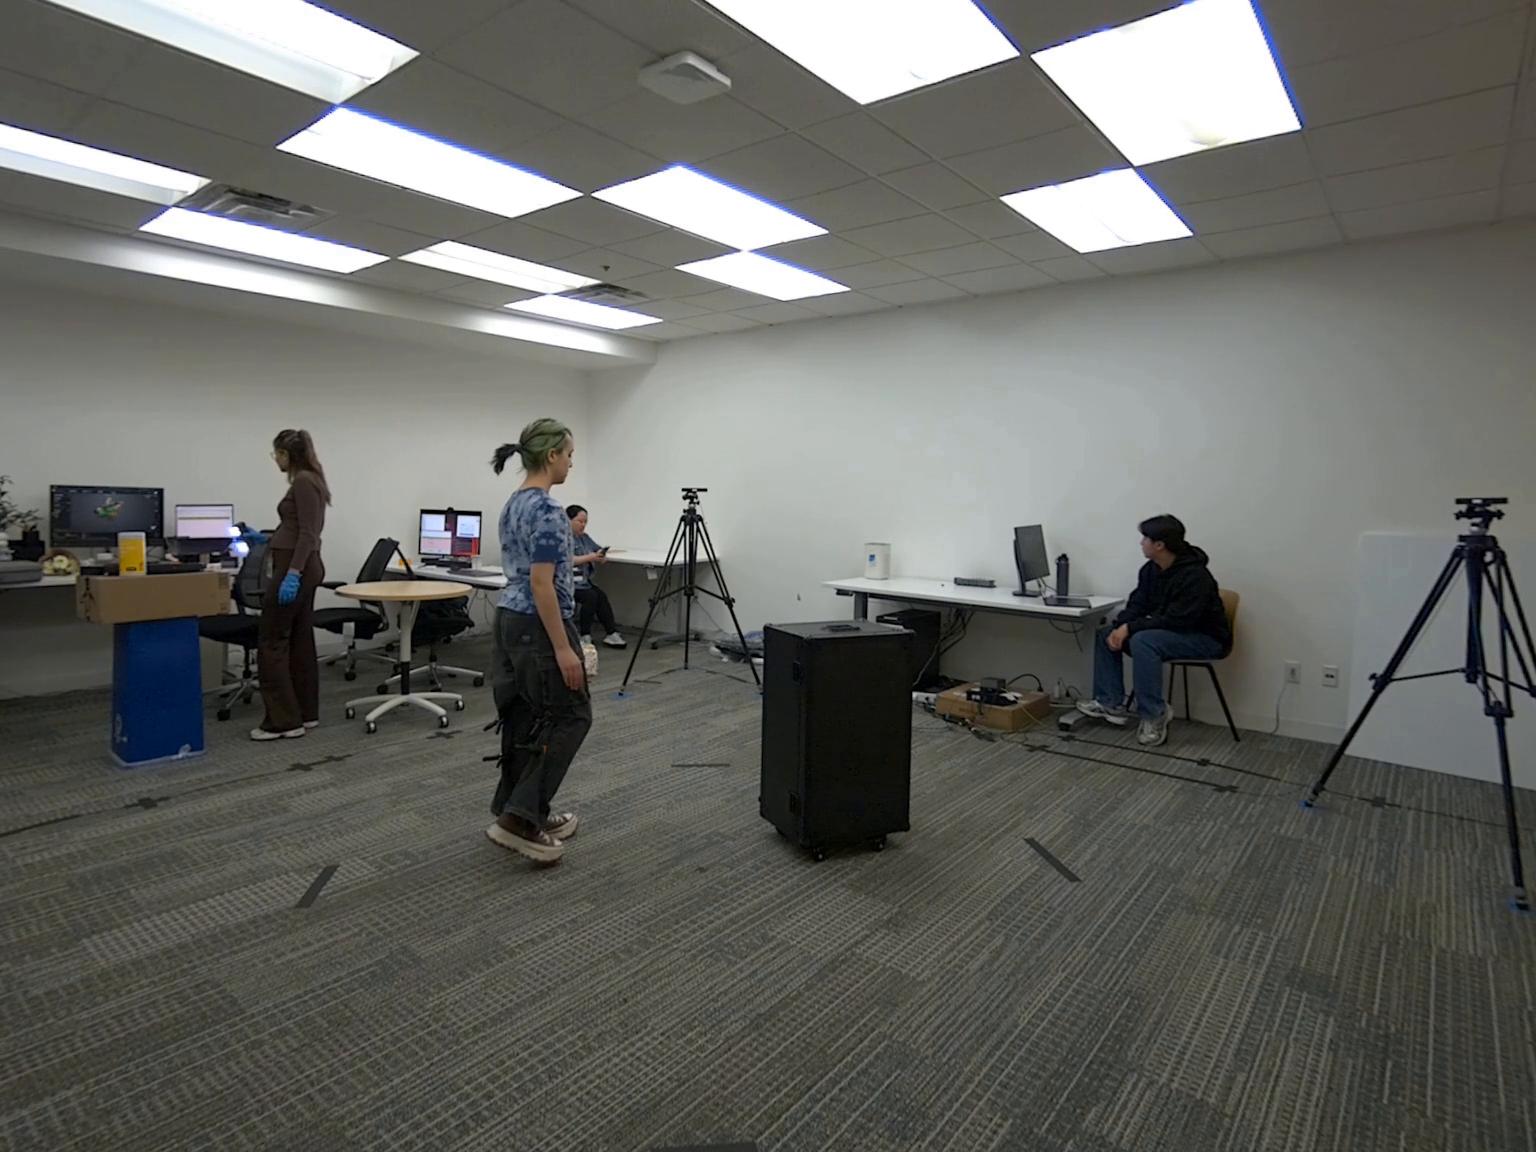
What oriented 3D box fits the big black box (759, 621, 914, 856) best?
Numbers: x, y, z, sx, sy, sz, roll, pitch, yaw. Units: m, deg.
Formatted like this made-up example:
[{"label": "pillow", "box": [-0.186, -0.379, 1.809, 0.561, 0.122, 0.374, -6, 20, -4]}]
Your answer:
[{"label": "big black box", "box": [0.248, 0.631, 3.381, 0.509, 0.860, 0.407, 0, 2, -26]}]
